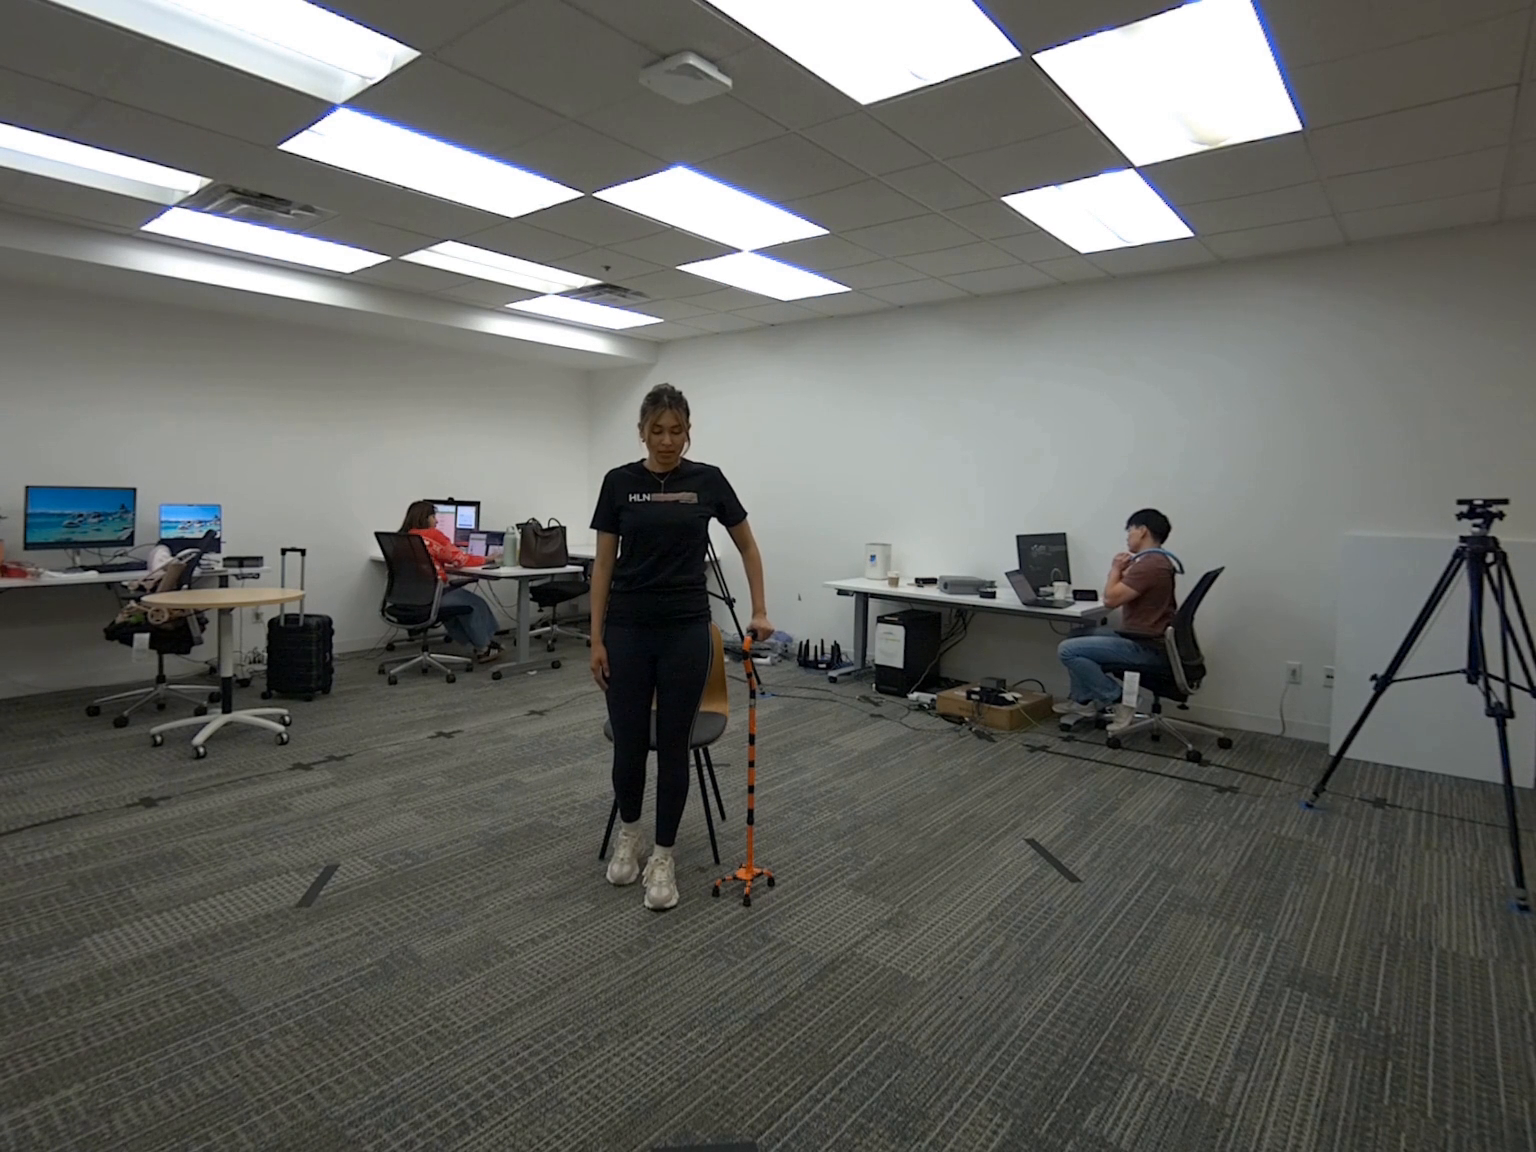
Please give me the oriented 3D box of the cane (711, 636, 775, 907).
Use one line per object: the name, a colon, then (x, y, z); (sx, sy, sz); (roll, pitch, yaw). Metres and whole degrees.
cane: (-0.077, 0.643, 2.930); (0.156, 0.907, 0.201); (2, 2, 28)
